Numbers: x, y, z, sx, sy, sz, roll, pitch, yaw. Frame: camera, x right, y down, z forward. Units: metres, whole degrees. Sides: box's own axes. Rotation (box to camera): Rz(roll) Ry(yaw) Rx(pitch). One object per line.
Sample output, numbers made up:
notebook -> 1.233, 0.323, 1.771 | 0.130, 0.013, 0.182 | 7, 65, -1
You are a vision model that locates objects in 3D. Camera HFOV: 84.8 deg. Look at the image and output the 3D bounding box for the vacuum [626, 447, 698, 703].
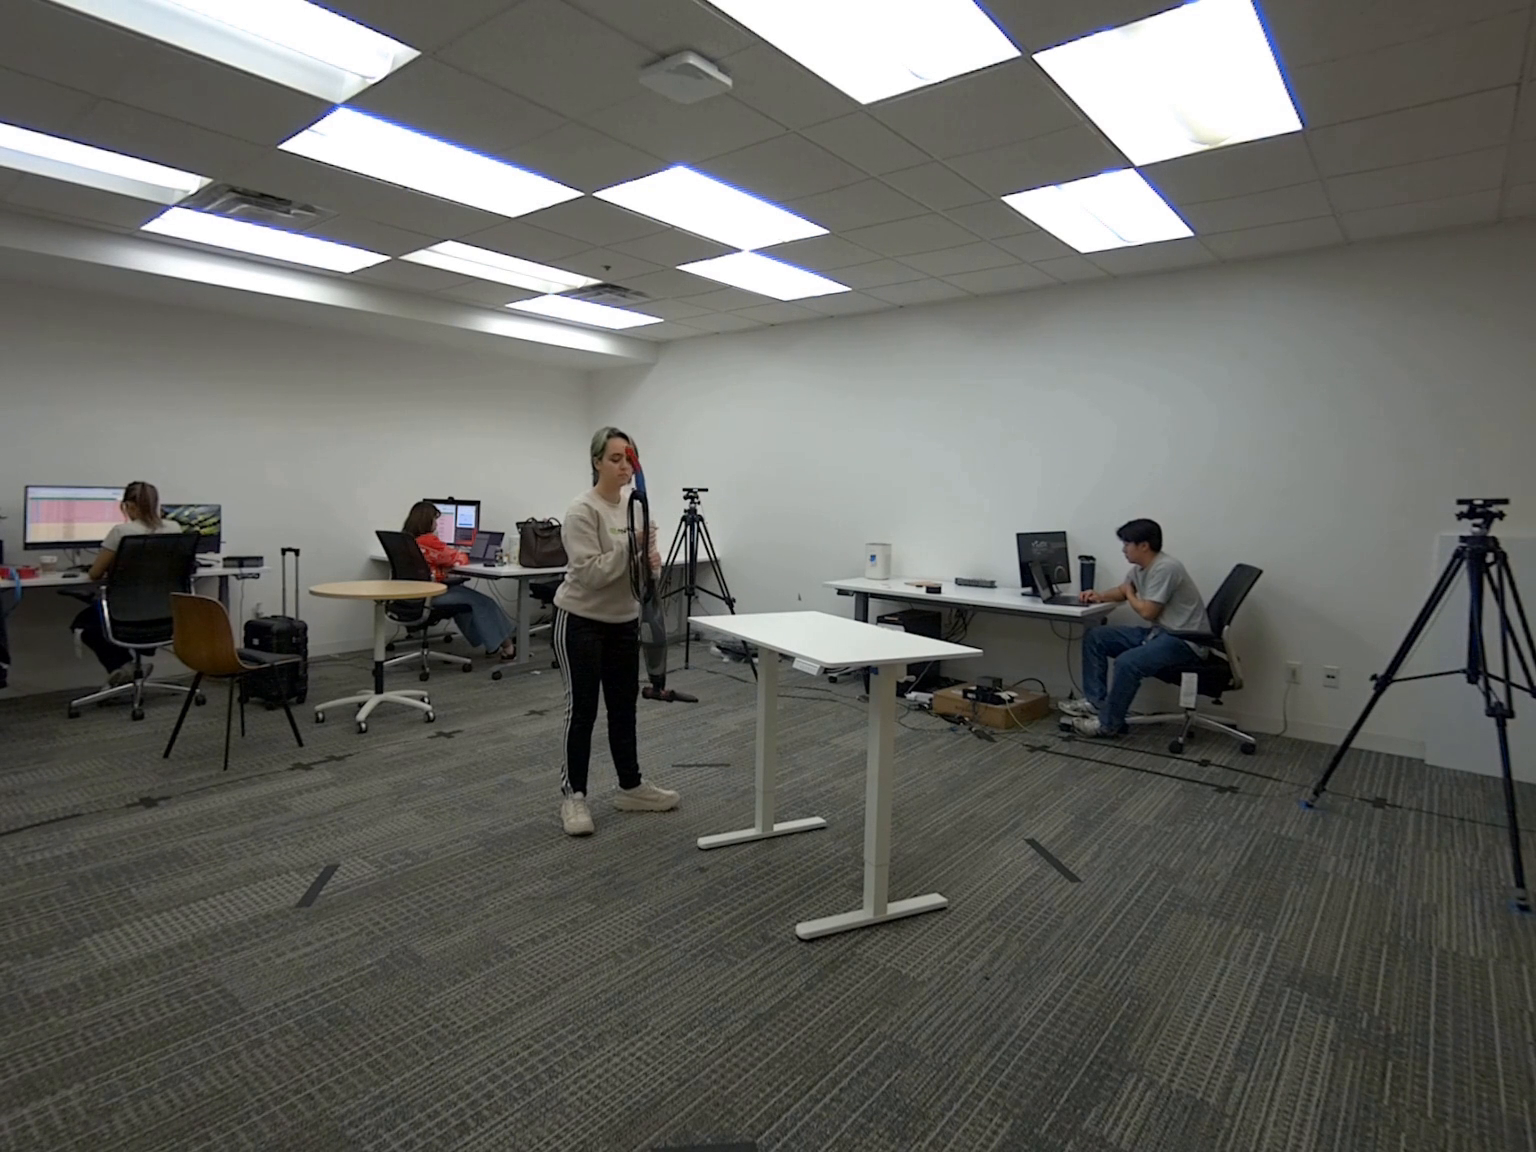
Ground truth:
vacuum -> -0.495, 0.012, 3.368 | 0.259, 1.032, 0.142 | 1, 17, 28
